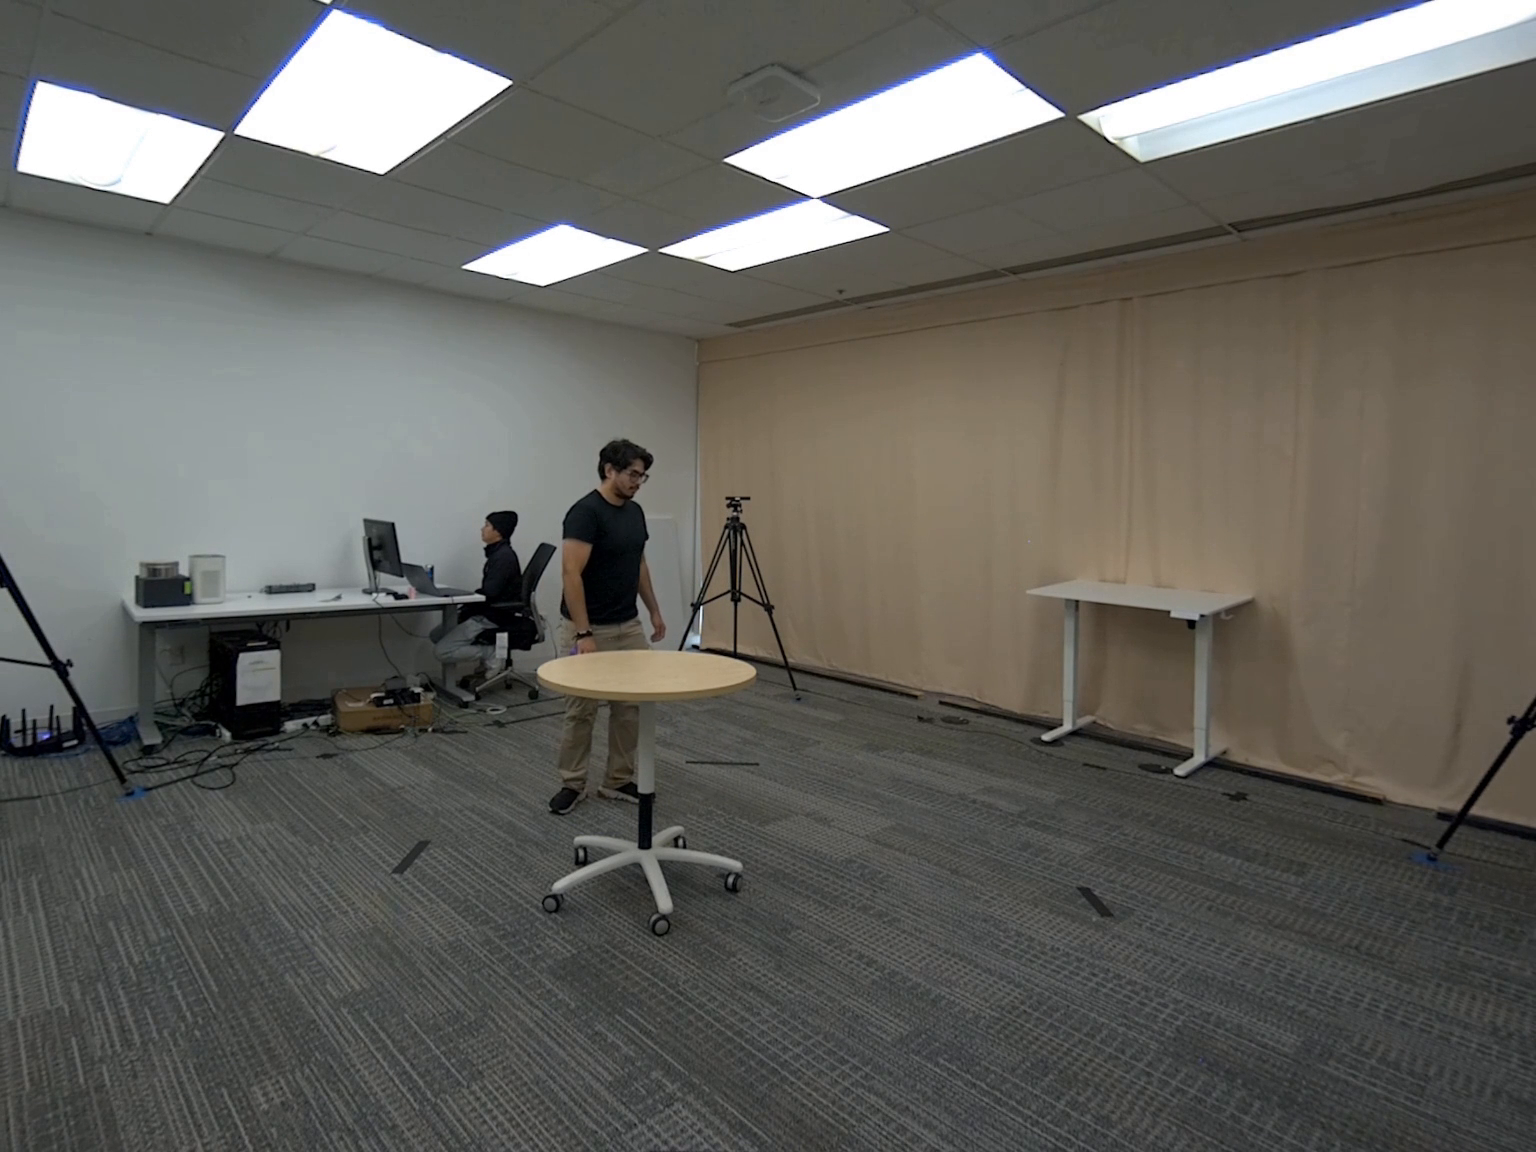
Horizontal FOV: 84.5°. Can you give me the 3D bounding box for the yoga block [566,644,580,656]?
[{"bbox_3d":[-0.768,0.405,3.556,0.228,0.148,0.077,20,17,-7],"label":"yoga block"}]
